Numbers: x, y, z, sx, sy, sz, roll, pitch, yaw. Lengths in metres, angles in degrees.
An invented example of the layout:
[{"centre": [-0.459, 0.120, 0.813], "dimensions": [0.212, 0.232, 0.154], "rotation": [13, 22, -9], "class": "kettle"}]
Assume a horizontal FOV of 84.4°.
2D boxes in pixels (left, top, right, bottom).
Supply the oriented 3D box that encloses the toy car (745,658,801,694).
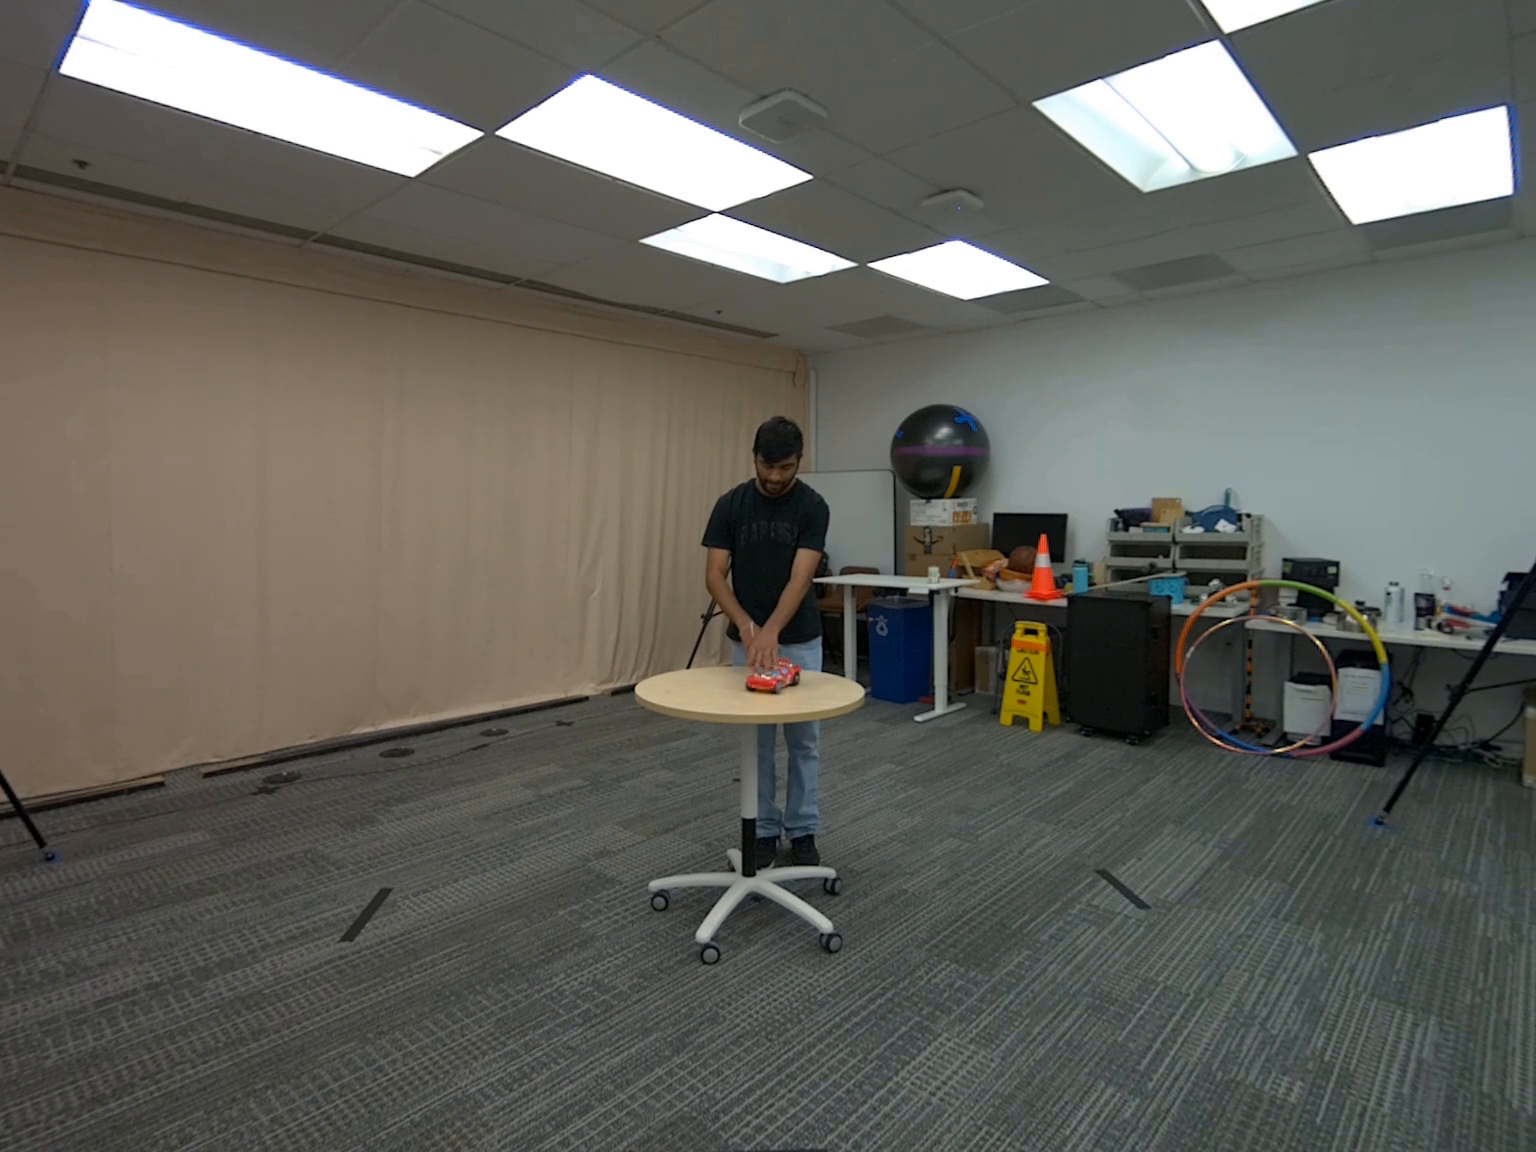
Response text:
[{"centre": [0.020, 0.340, 2.840], "dimensions": [0.134, 0.082, 0.250], "rotation": [2, 16, 27], "class": "toy car"}]
